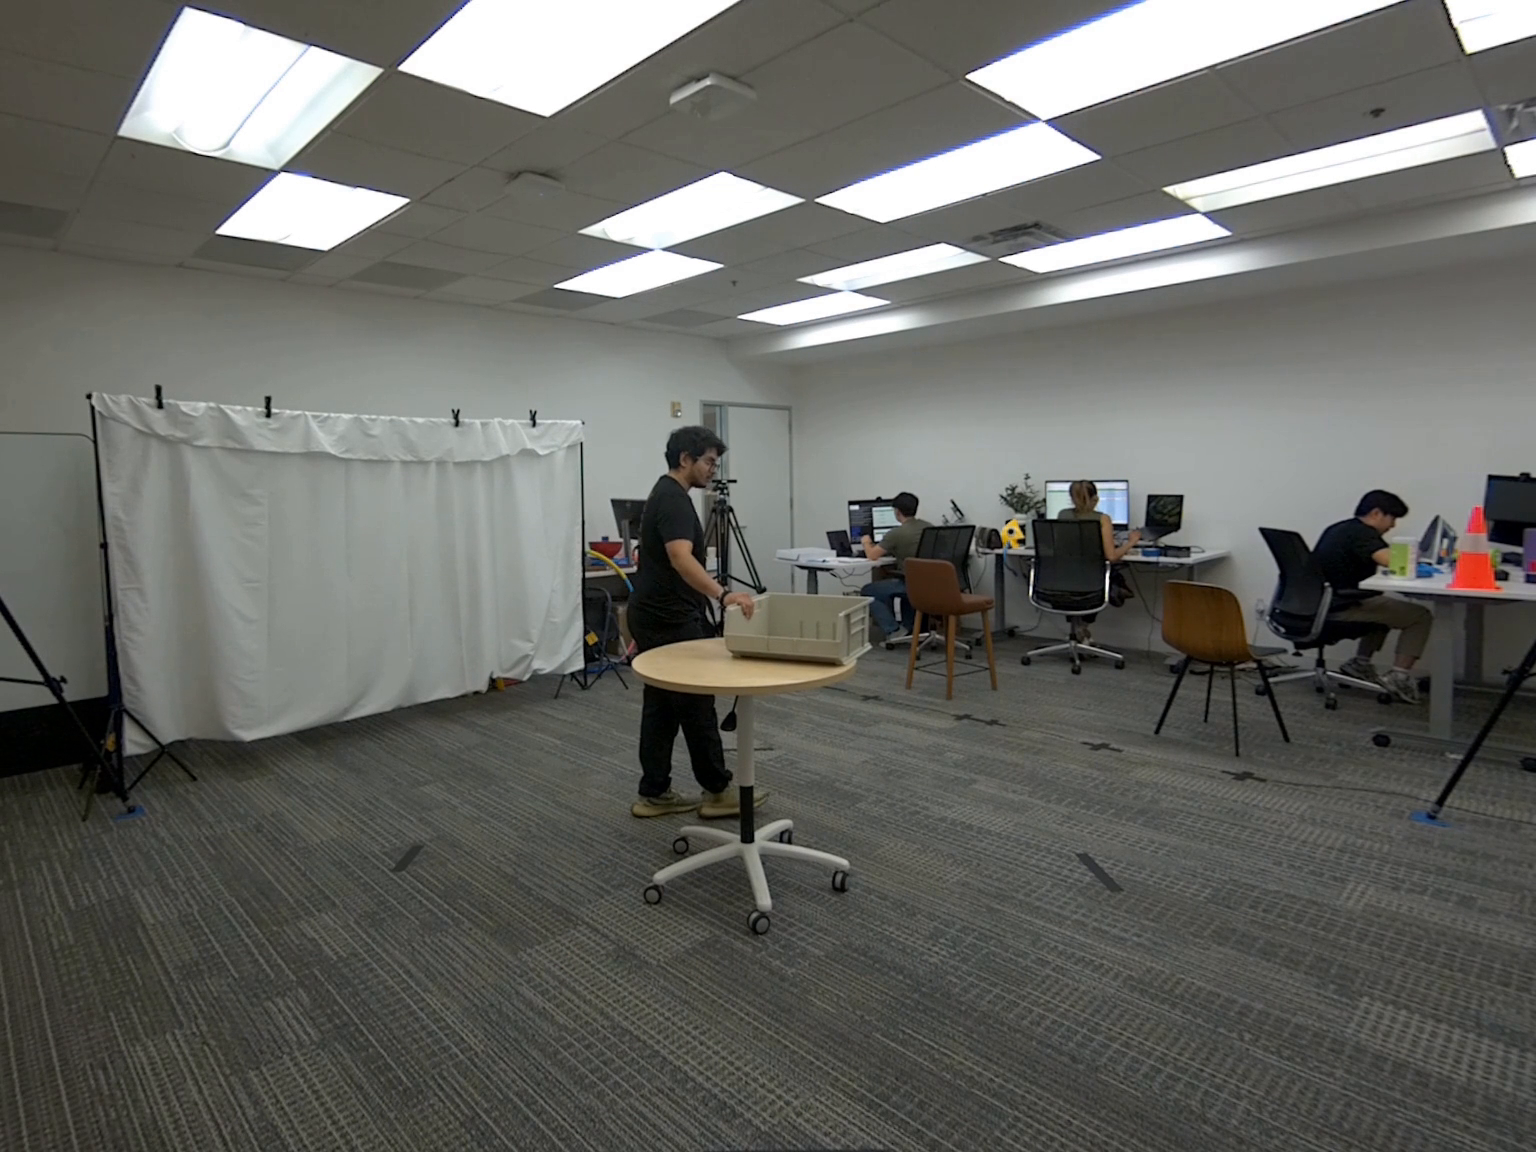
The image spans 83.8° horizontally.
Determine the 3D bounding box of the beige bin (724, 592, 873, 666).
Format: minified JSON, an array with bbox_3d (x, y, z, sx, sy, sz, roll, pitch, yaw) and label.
[{"bbox_3d":[0.116,0.182,2.988,0.432,0.188,0.370,1,5,25],"label":"beige bin"}]
